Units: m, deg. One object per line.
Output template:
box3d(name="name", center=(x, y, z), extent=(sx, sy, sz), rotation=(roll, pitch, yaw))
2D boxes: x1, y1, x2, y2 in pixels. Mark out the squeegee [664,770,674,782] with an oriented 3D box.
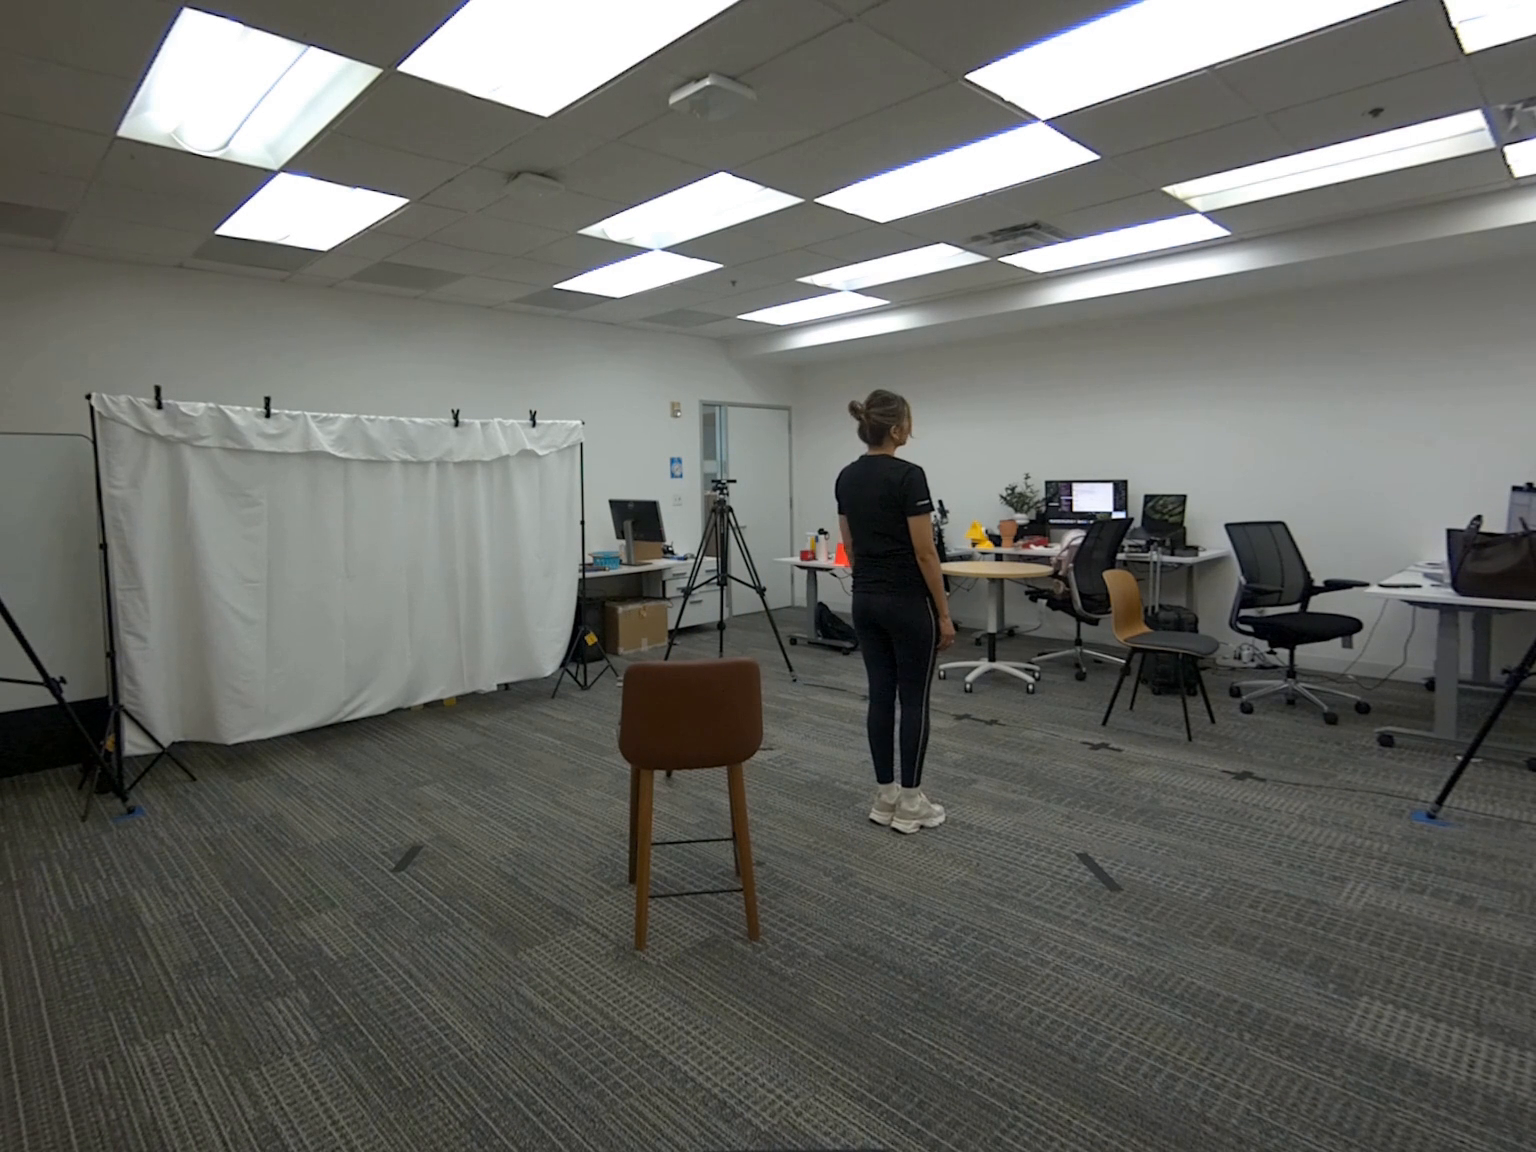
box3d(name="squeegee", center=(-0.359, 0.632, 3.378), extent=(0.437, 0.054, 1.517), rotation=(17, -25, -2))
